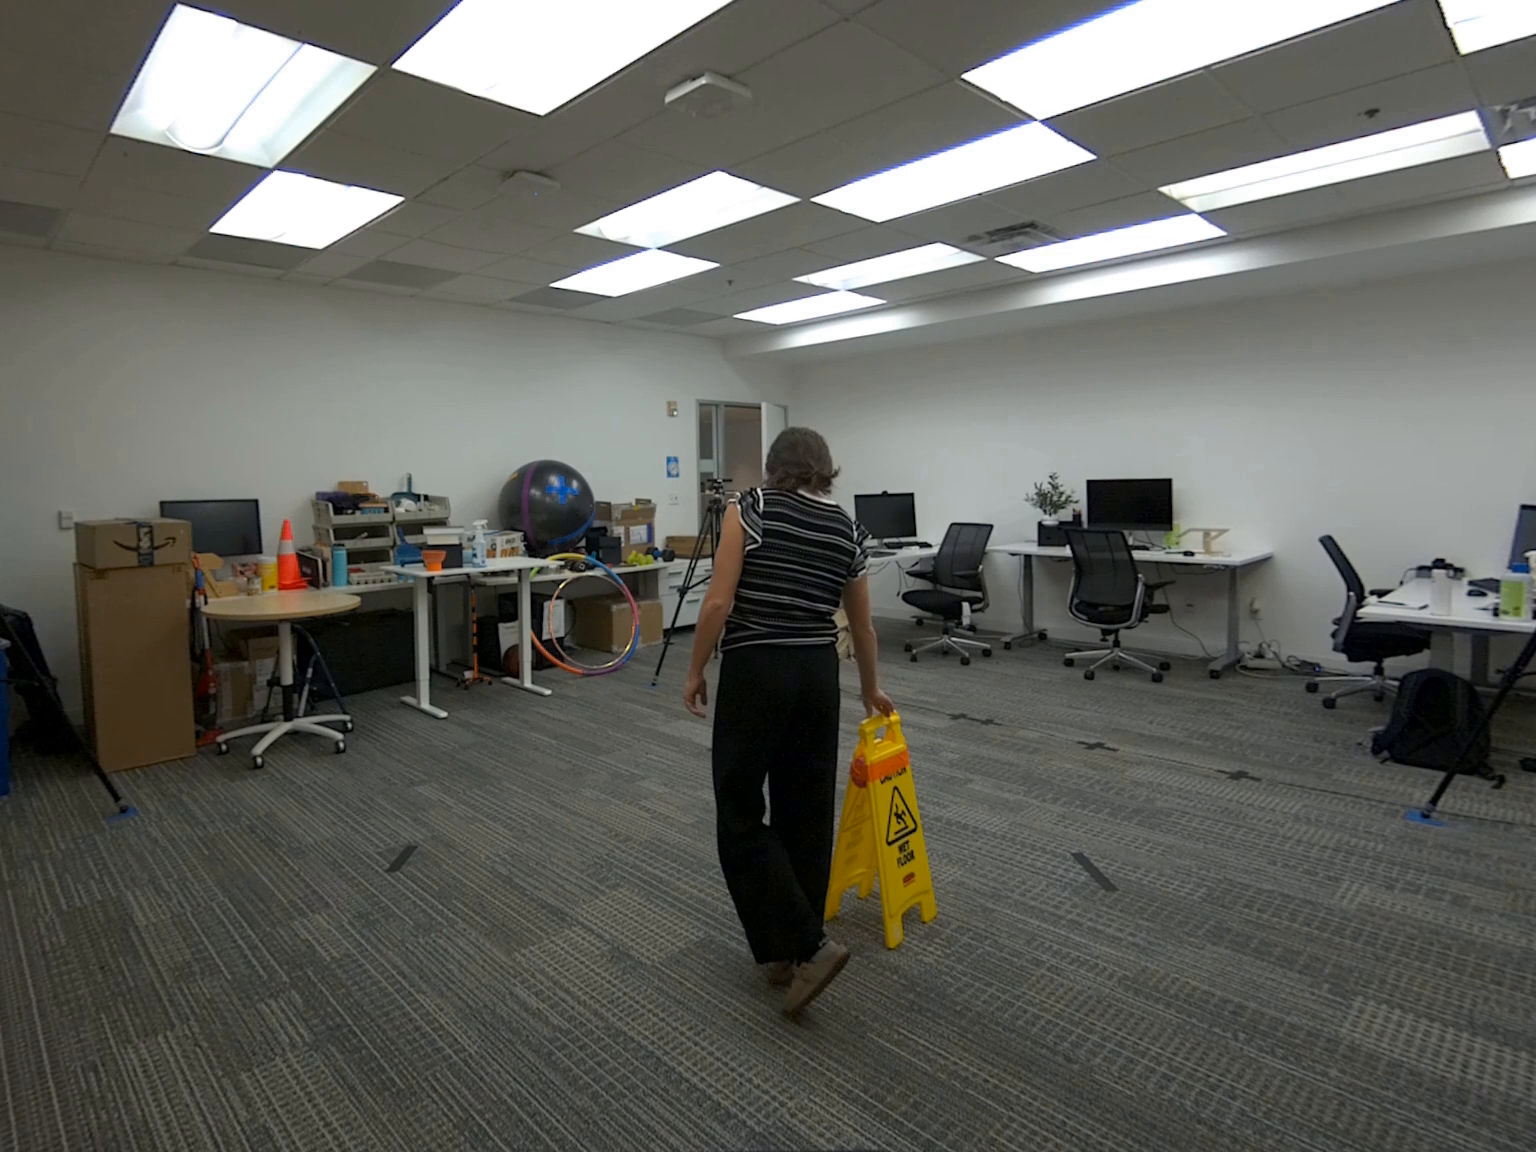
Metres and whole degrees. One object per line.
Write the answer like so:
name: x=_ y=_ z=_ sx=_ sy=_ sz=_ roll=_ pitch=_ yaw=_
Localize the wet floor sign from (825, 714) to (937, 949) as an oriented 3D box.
wet floor sign: x=0.356 y=0.761 z=2.683 sx=0.298 sy=0.644 sz=0.275 roll=4 pitch=5 yaw=40
